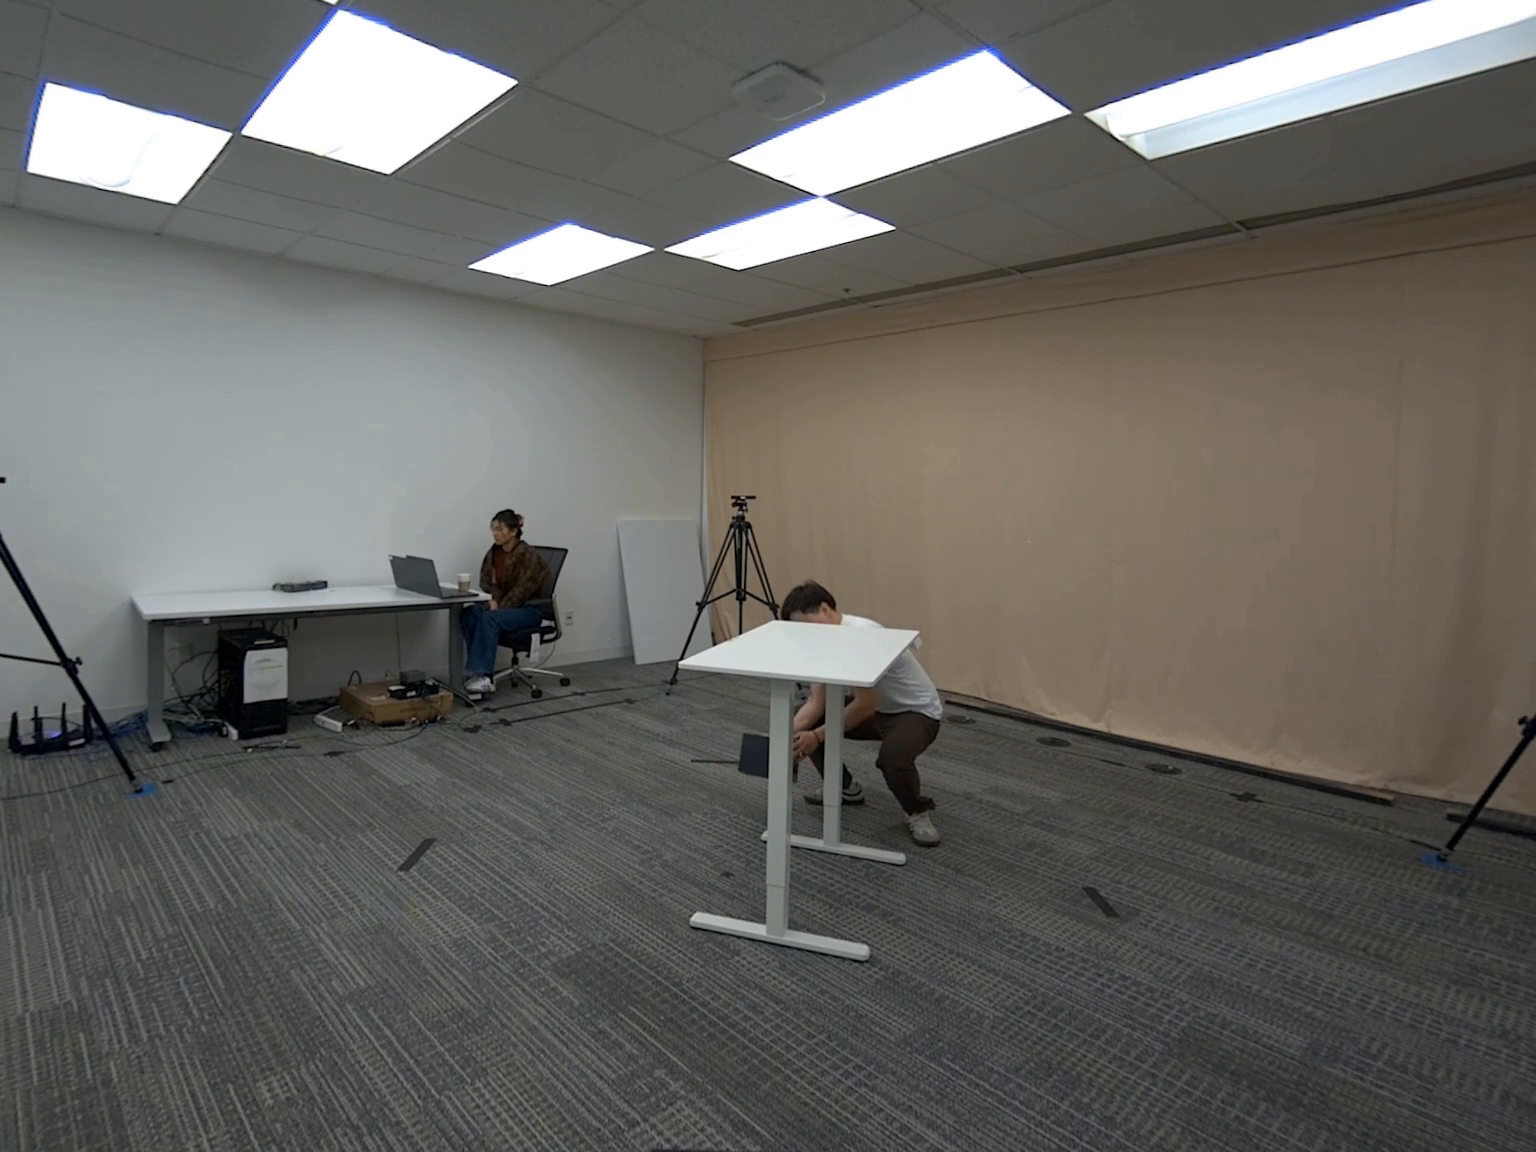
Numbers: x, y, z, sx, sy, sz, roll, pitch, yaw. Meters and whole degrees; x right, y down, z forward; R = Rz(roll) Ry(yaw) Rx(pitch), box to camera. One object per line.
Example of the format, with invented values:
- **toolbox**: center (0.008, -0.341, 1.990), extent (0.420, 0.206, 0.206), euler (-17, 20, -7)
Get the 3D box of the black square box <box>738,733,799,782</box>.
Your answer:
- **black square box**: center (-0.003, 0.755, 3.528), extent (0.219, 0.157, 0.224), euler (7, -13, 9)
